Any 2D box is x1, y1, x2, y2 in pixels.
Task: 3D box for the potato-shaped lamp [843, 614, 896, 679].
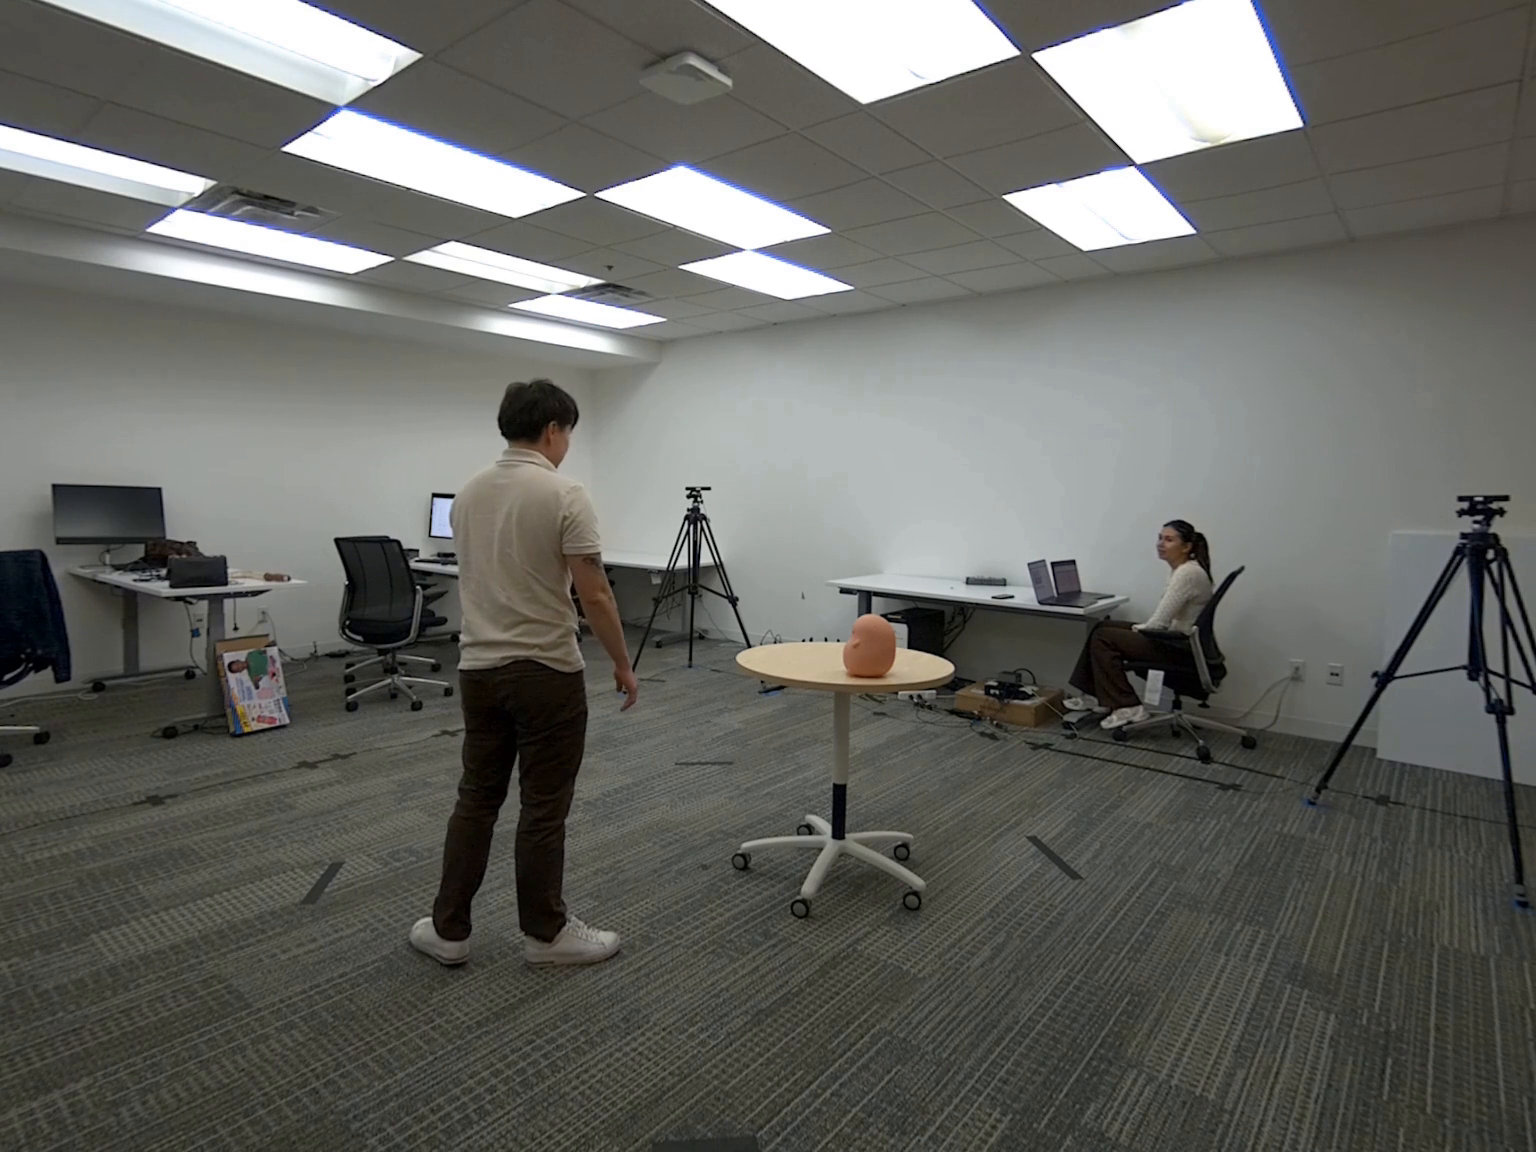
[{"bbox_3d":[0.328,0.222,2.801,0.172,0.196,0.165,0,9,2],"label":"potato-shaped lamp"}]
